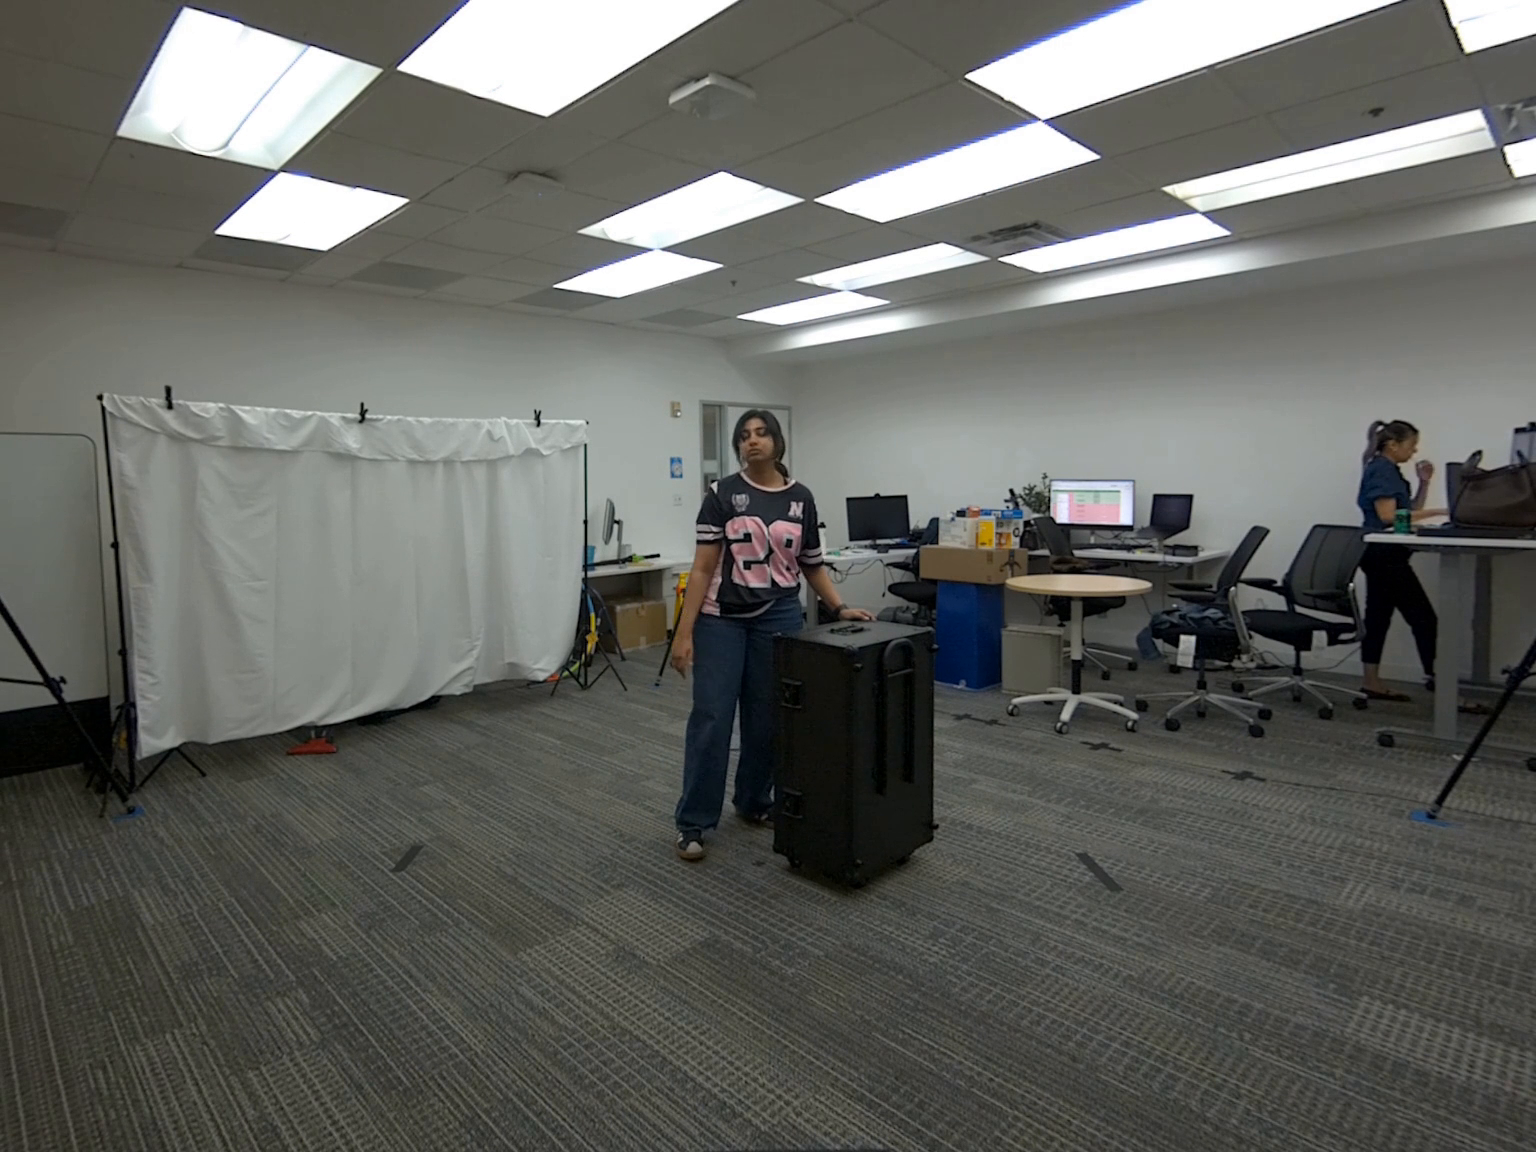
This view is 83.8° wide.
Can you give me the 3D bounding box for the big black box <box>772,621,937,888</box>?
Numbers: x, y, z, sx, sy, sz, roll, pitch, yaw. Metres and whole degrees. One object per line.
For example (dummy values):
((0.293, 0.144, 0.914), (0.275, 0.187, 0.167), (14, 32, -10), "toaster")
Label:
((0.326, 0.624, 3.049), (0.507, 0.858, 0.409), (-5, 7, -44), "big black box")
